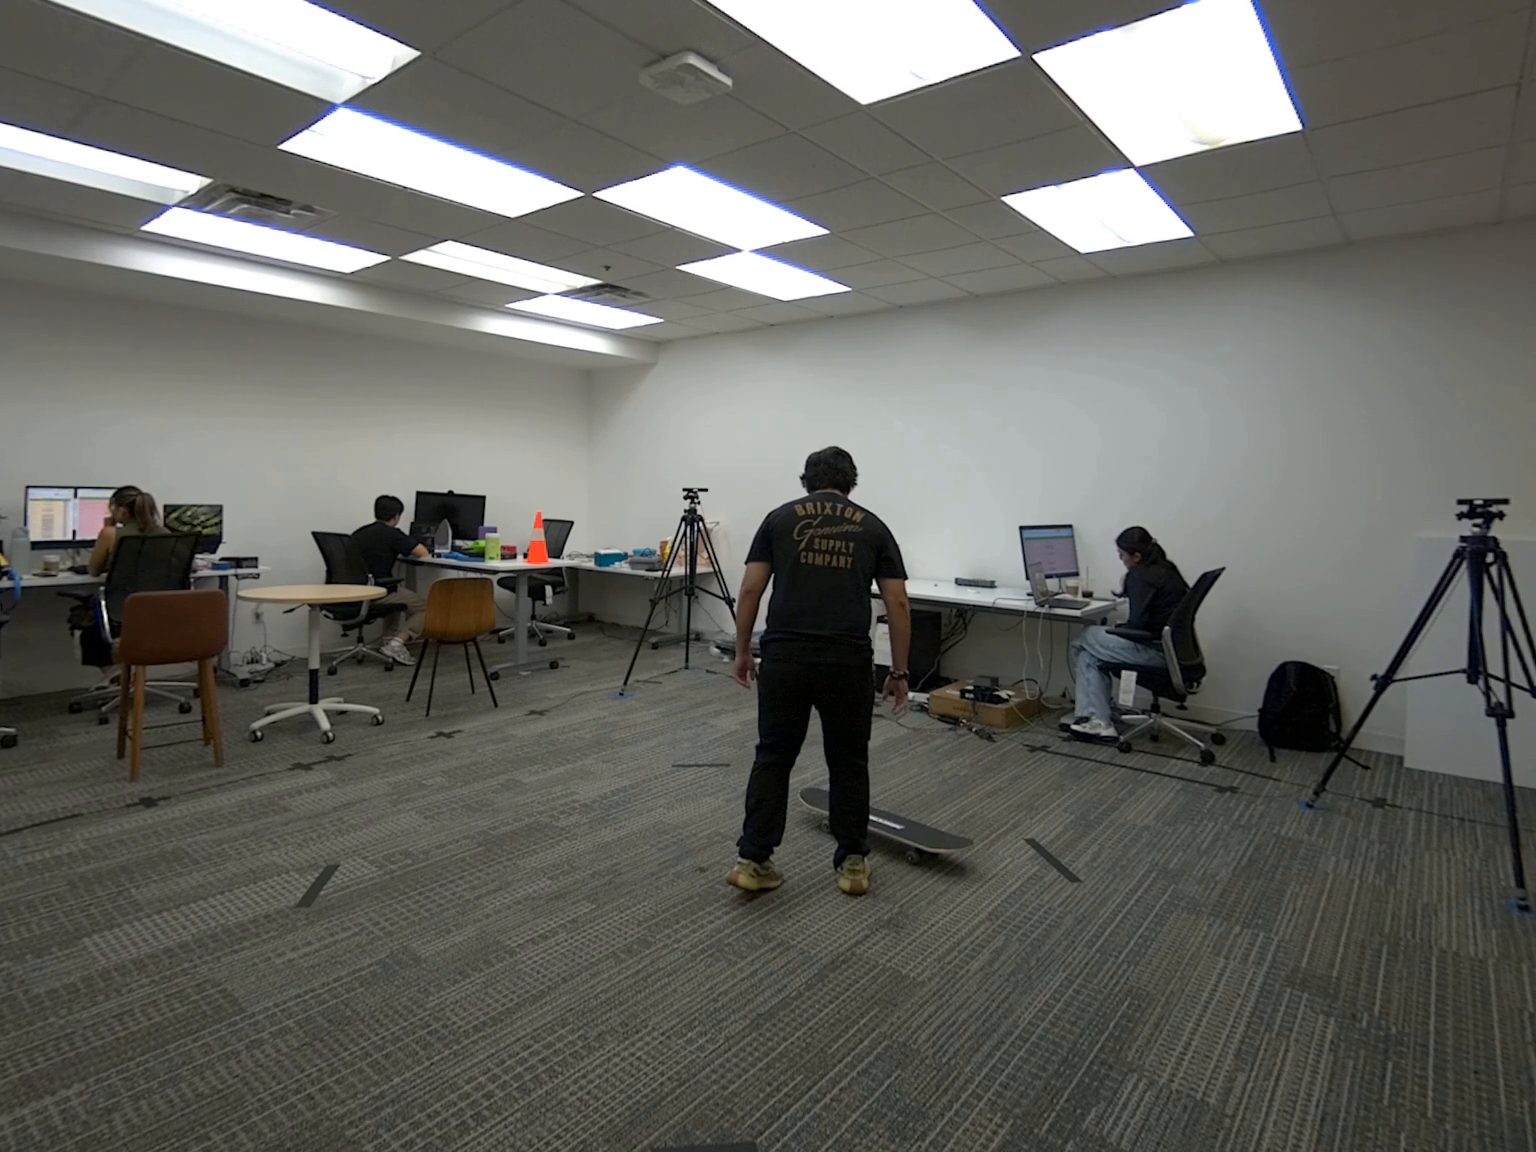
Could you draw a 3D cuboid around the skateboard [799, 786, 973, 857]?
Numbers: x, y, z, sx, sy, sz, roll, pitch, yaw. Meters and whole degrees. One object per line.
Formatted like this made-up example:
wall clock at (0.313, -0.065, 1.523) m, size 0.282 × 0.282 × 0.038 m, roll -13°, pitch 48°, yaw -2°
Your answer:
skateboard at (0.439, 1.000, 3.389) m, size 0.813 × 0.110 × 0.187 m, roll 7°, pitch 7°, yaw 43°
